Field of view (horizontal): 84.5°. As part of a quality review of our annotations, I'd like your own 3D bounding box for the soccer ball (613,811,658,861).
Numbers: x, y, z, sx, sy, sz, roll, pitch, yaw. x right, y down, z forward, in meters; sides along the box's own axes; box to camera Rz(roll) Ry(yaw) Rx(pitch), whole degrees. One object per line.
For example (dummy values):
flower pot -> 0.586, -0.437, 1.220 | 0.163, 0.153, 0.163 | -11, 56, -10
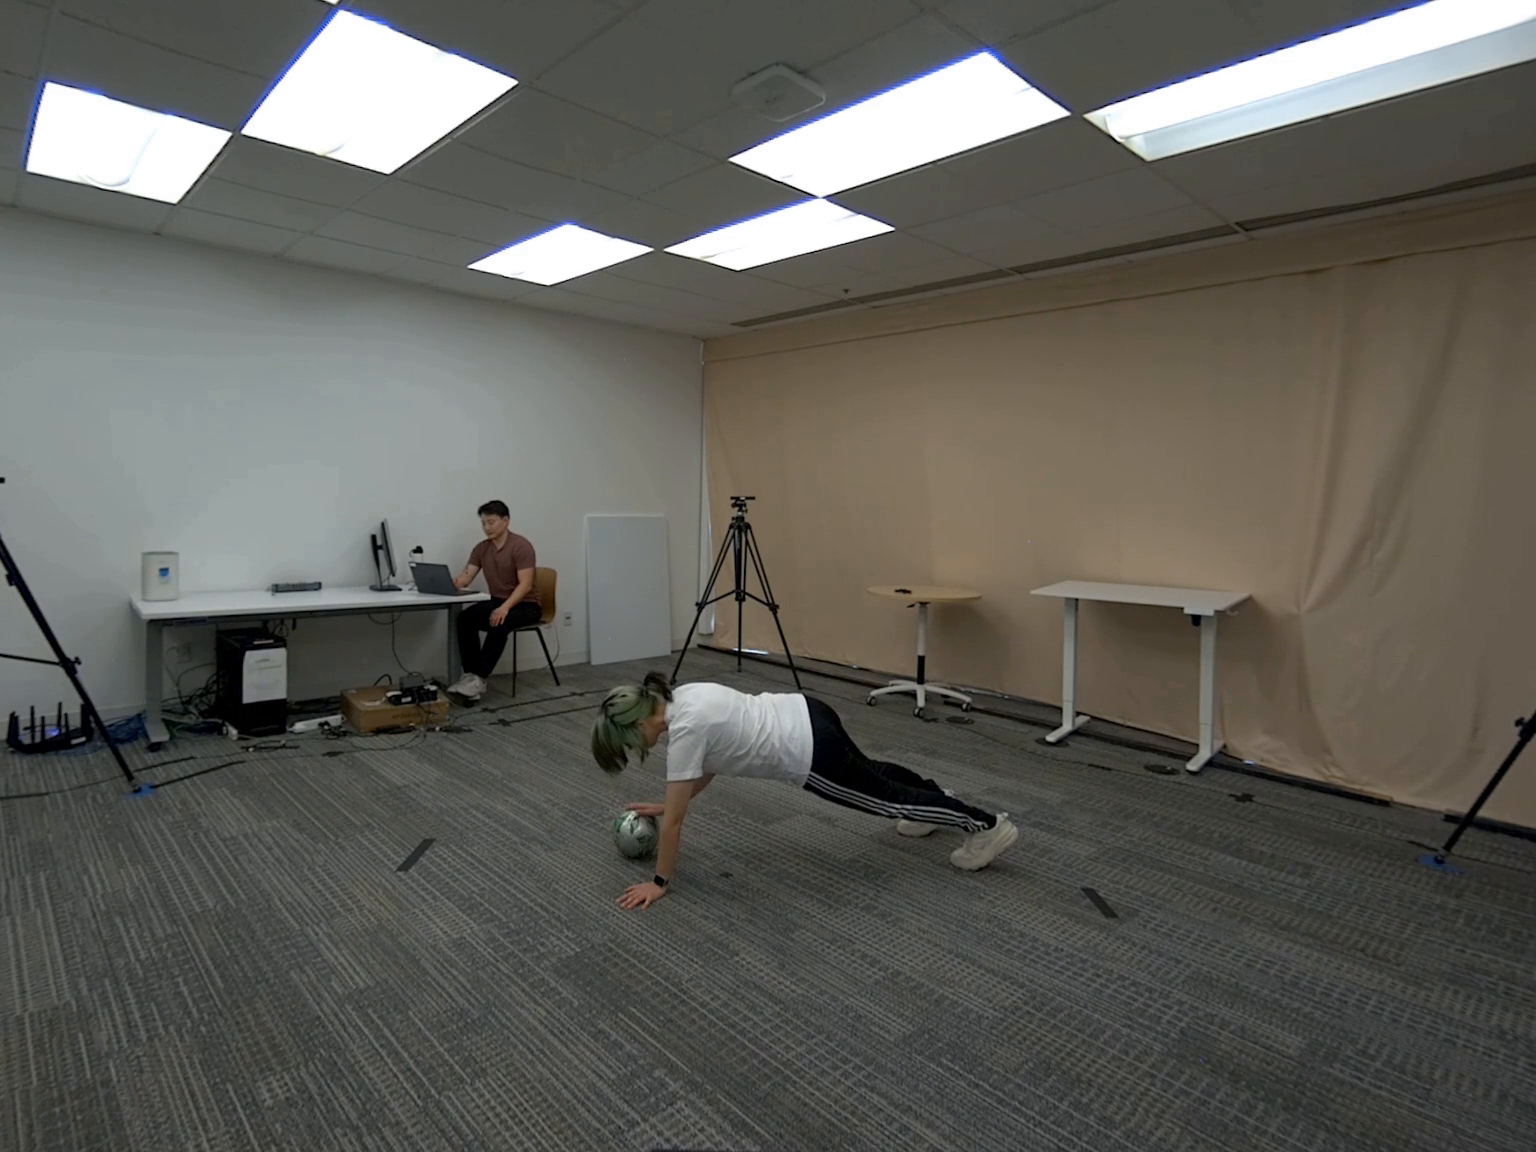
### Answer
soccer ball -> -0.514, 0.985, 3.250 | 0.187, 0.187, 0.188 | 1, 4, -1
